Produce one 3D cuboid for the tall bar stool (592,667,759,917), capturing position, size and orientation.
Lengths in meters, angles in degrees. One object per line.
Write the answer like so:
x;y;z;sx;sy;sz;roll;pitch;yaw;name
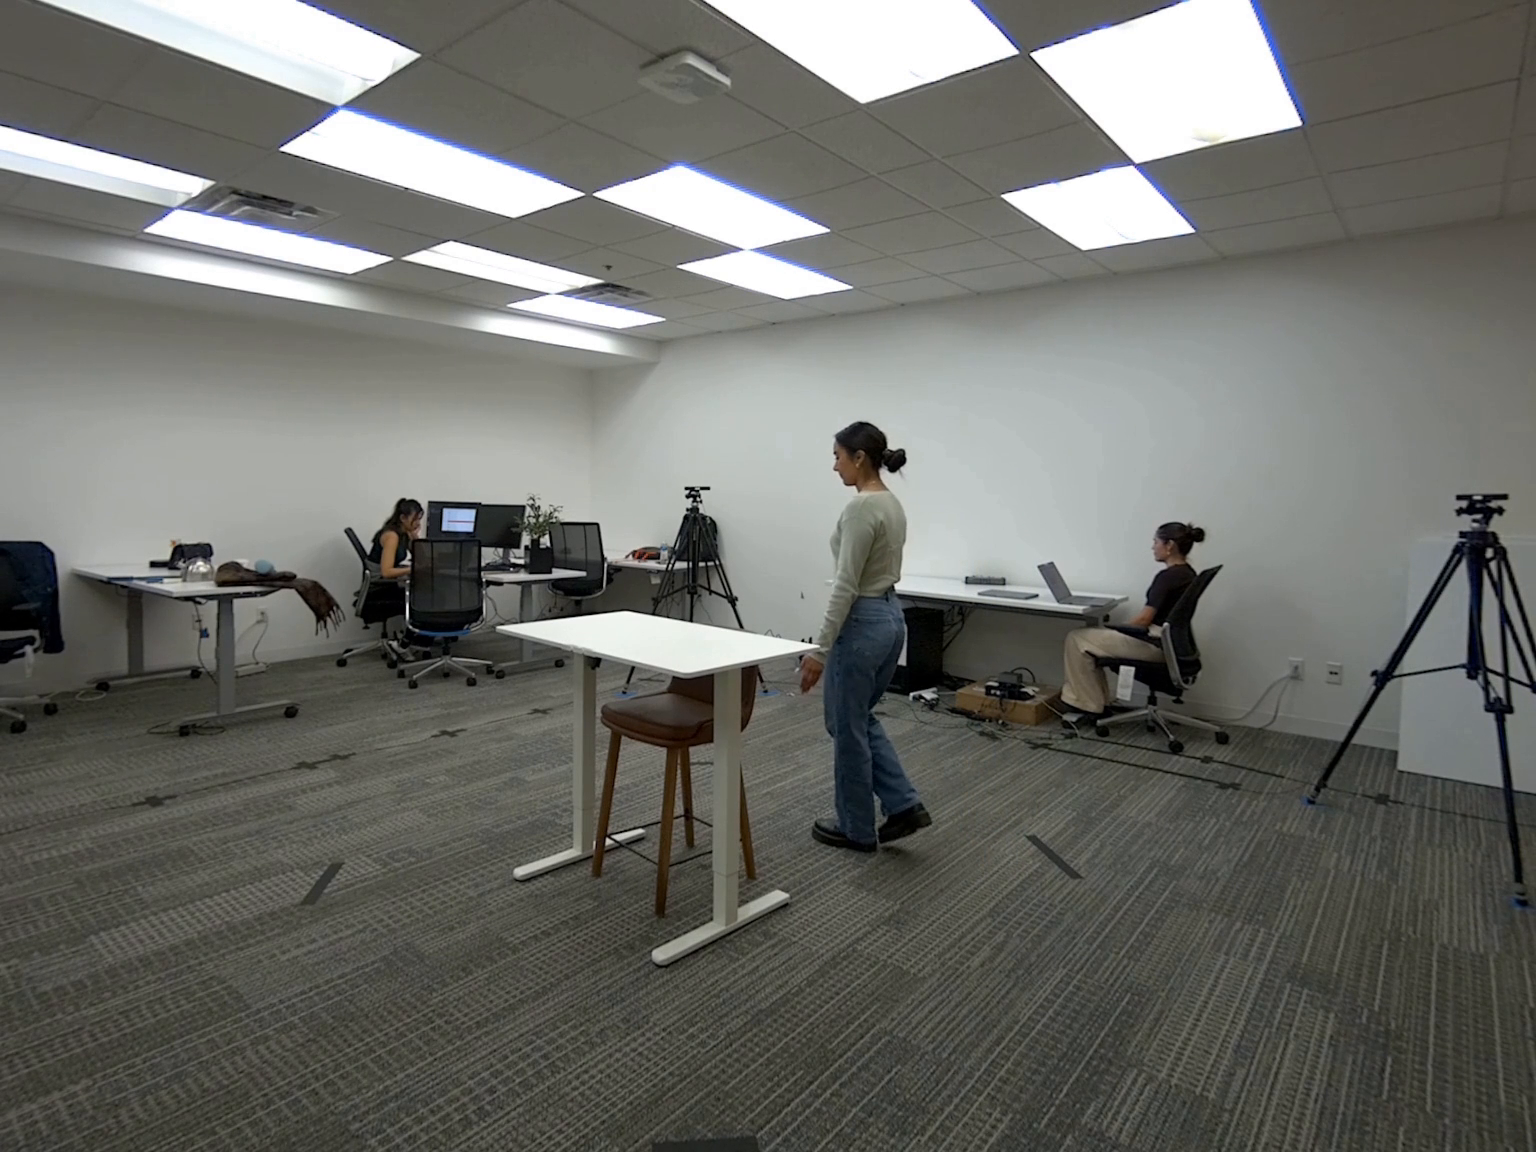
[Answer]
-0.325;0.639;3.015;0.453;0.889;0.472;1;2;-43;tall bar stool
